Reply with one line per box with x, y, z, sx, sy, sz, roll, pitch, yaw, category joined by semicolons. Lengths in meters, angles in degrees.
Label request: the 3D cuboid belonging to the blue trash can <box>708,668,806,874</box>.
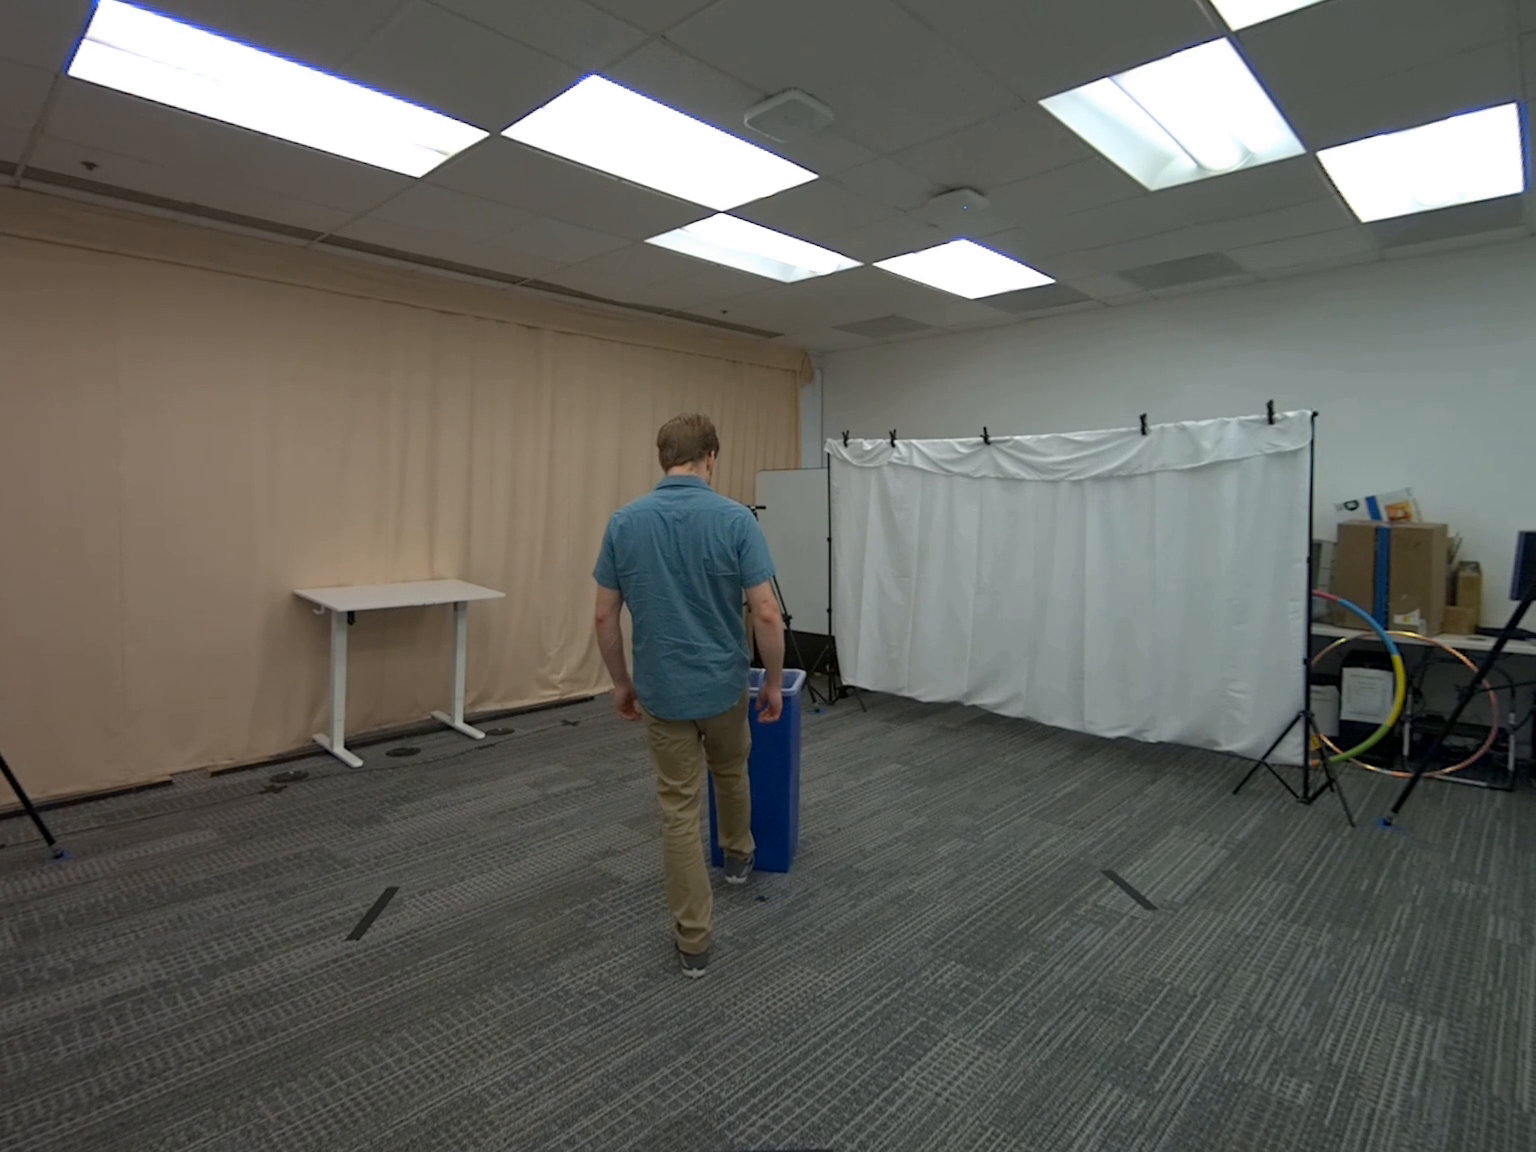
-0.043;0.758;3.338;0.383;0.713;0.370;0;2;11;blue trash can
